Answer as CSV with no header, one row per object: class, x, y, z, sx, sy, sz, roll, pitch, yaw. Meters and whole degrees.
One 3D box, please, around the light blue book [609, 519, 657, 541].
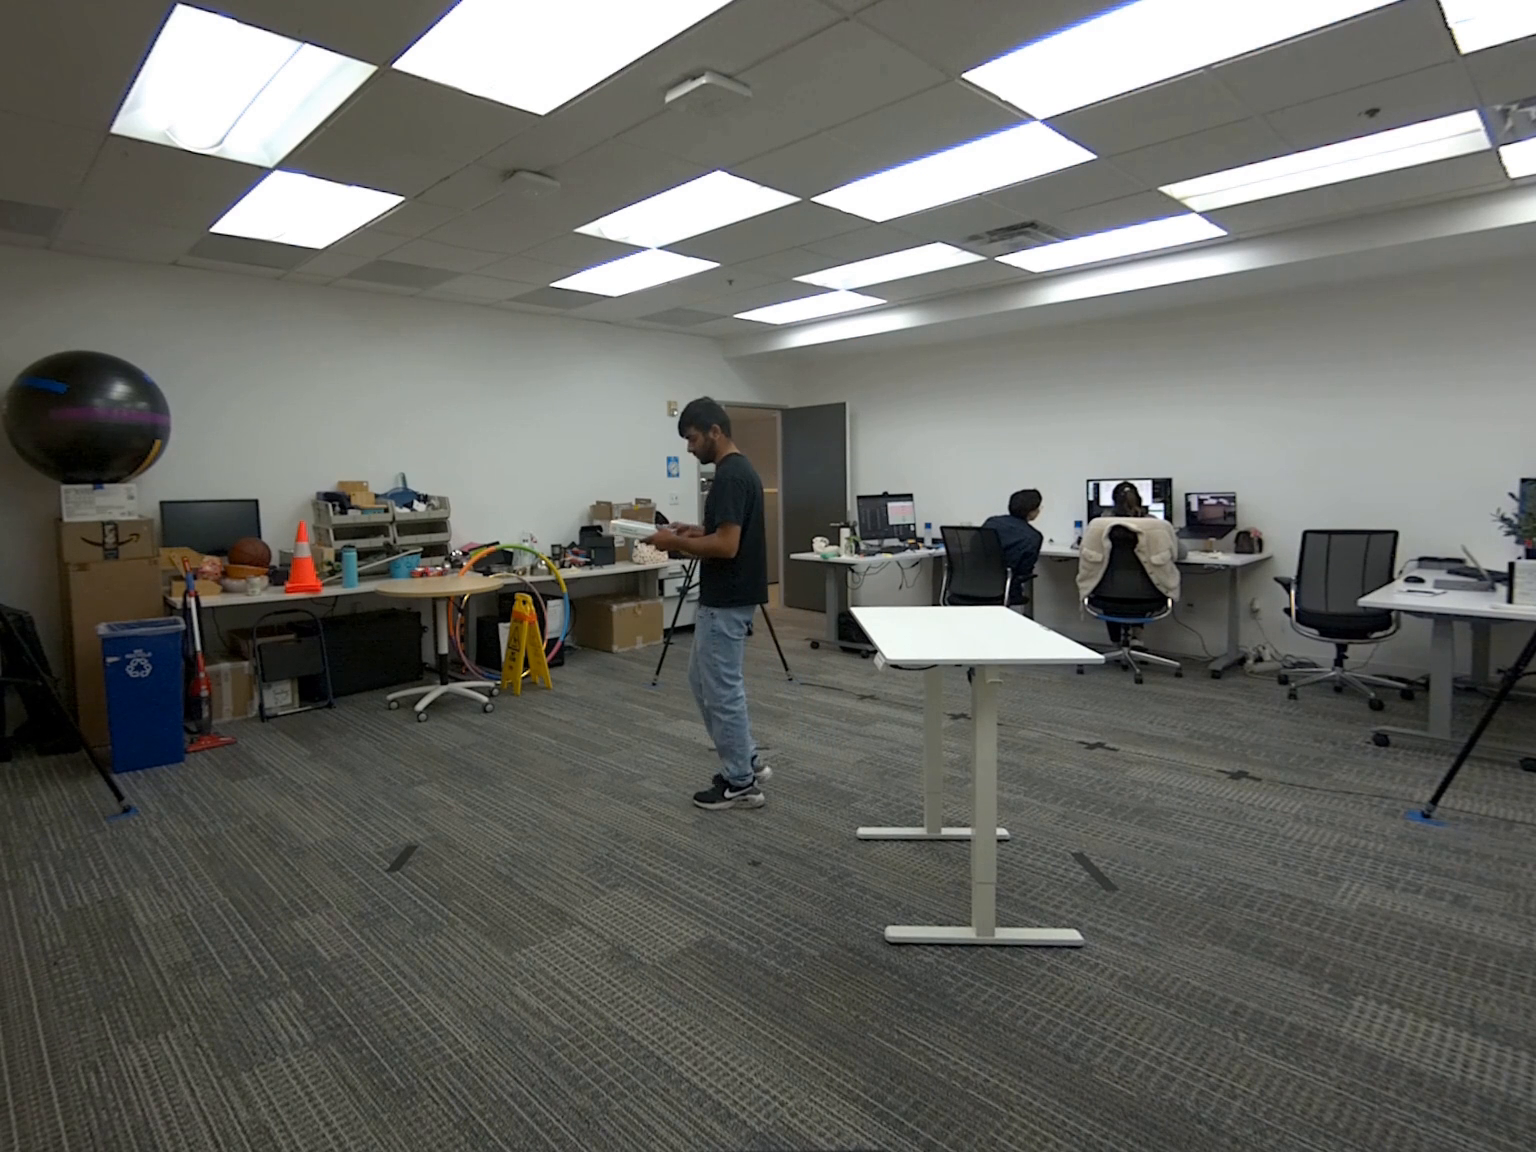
light blue book,-0.527,-0.192,3.659,0.263,0.059,0.191,8,7,5
